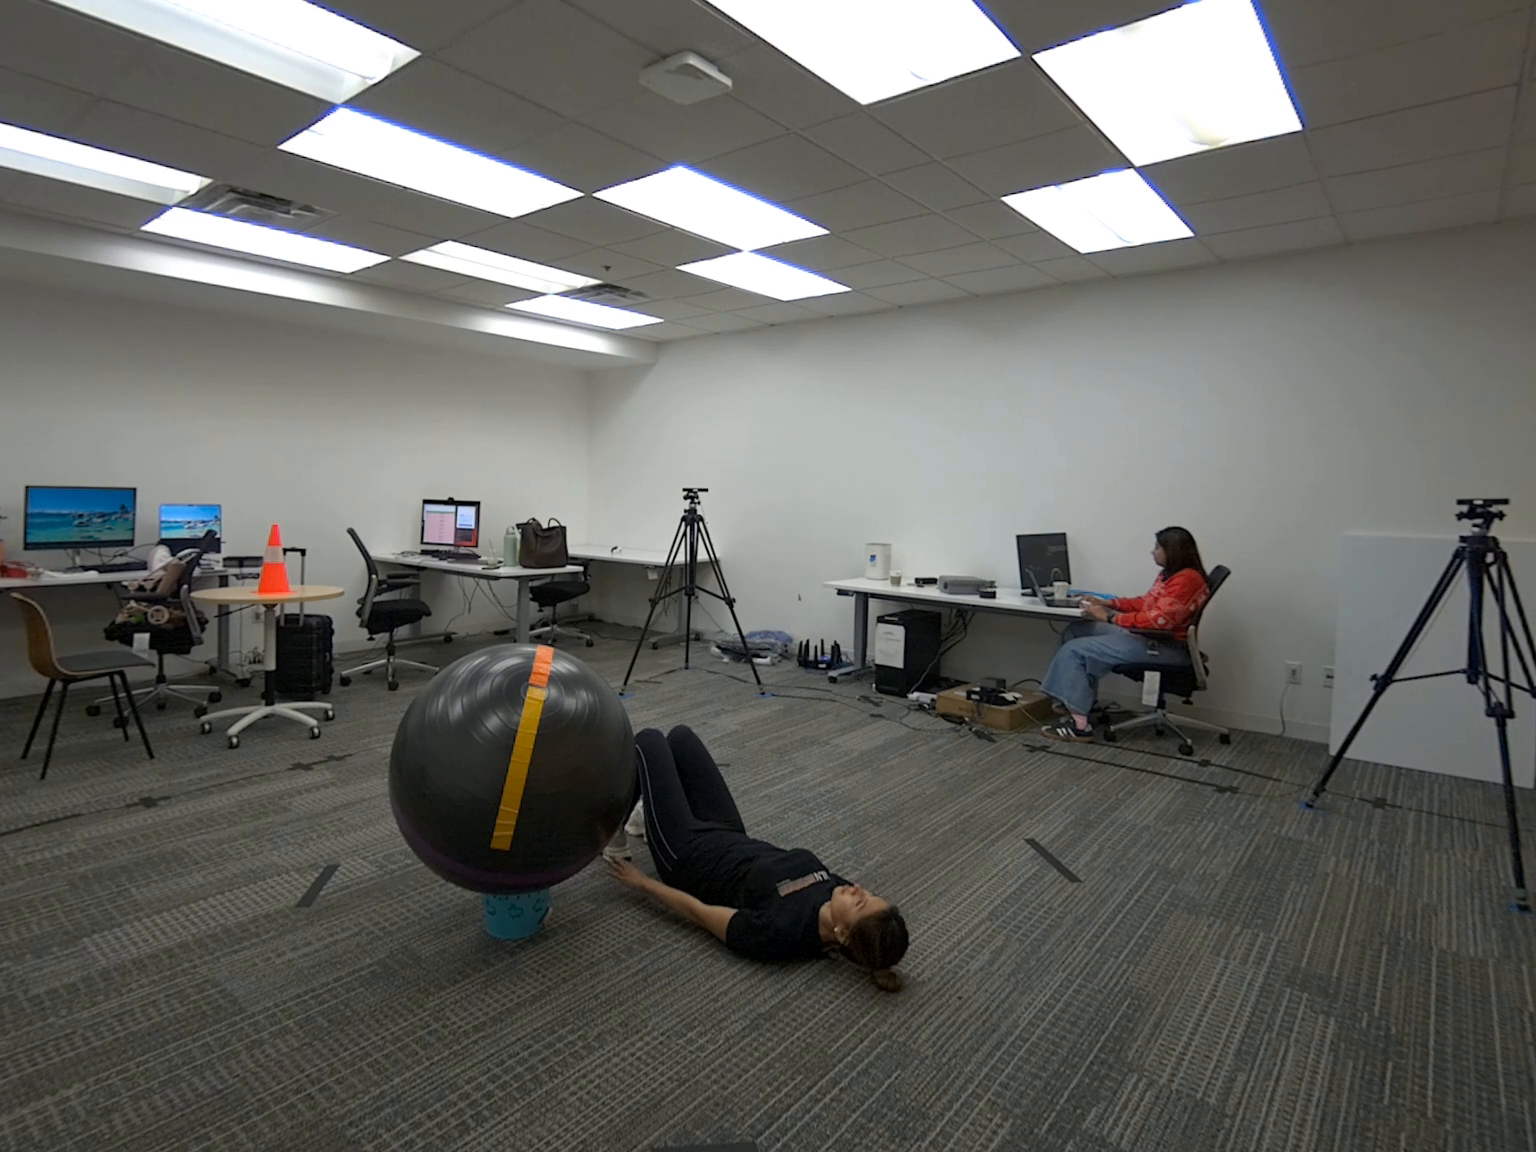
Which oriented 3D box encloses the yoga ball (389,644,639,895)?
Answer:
[{"bbox_3d":[-0.801,0.594,2.665,0.757,0.756,0.761,-3,3,-2],"label":"yoga ball"}]
